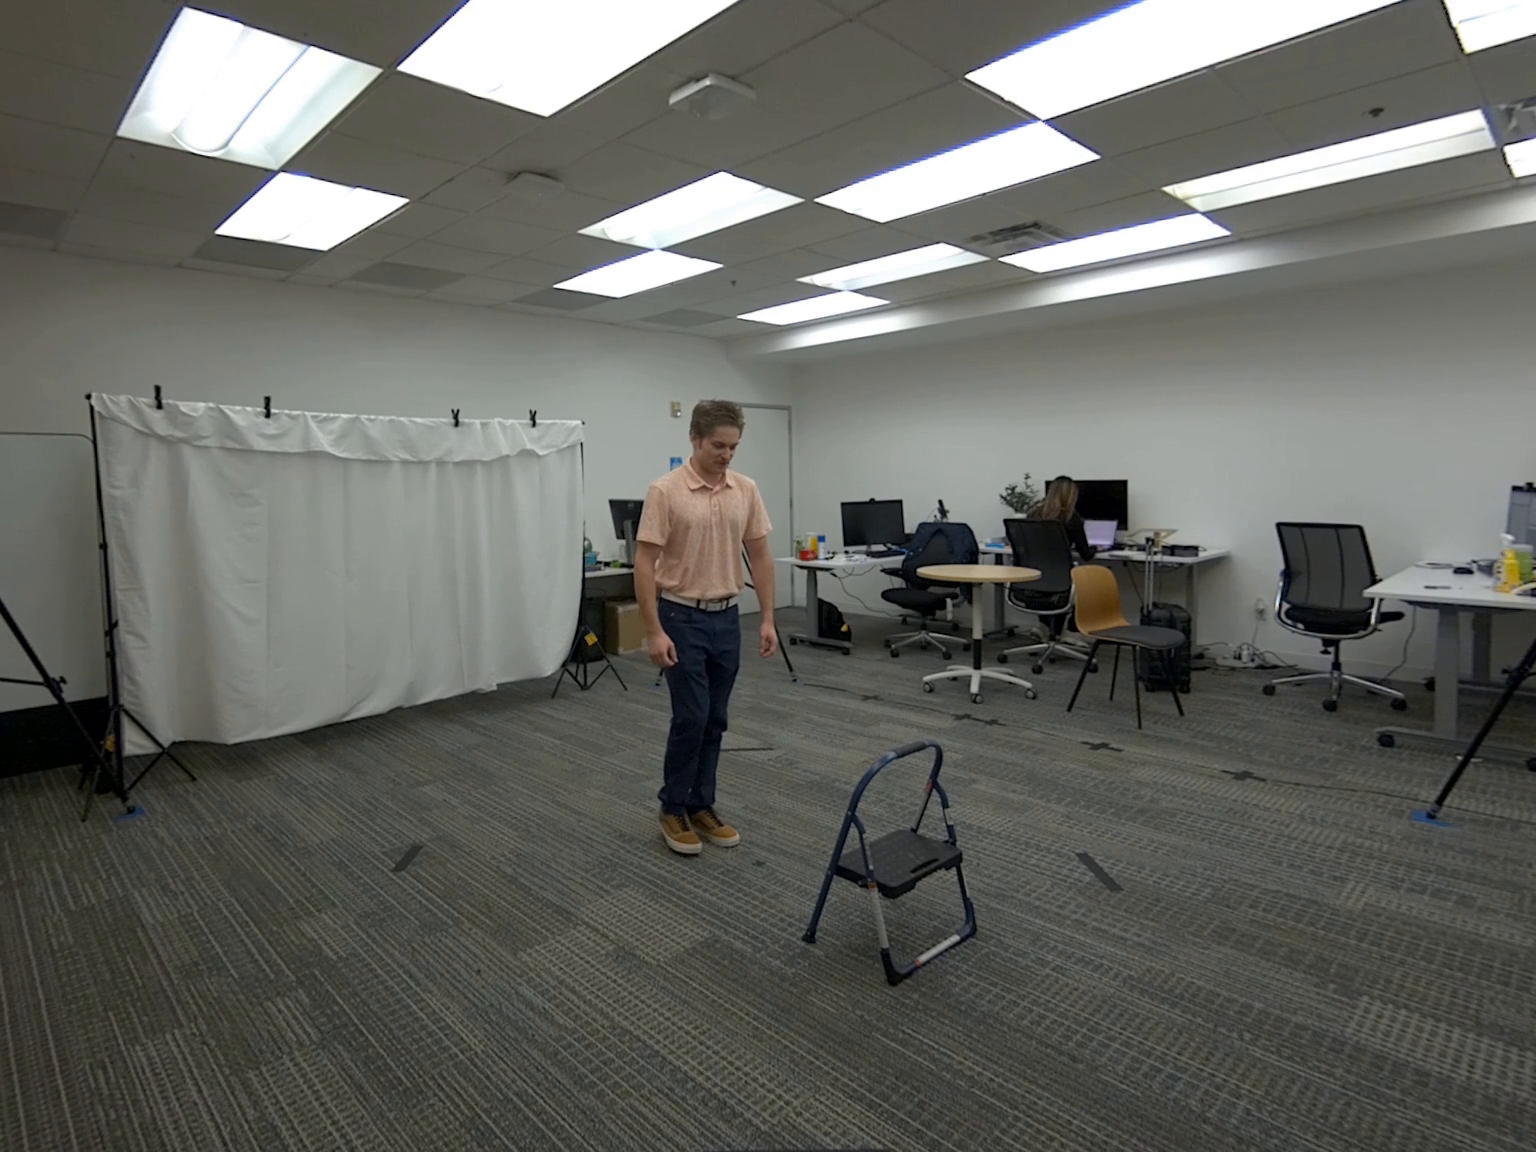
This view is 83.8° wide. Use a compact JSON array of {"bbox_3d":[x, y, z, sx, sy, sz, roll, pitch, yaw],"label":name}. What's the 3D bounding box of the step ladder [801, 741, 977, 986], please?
[{"bbox_3d":[0.372,0.797,2.584,0.419,0.604,0.360,-6,6,-43],"label":"step ladder"}]
